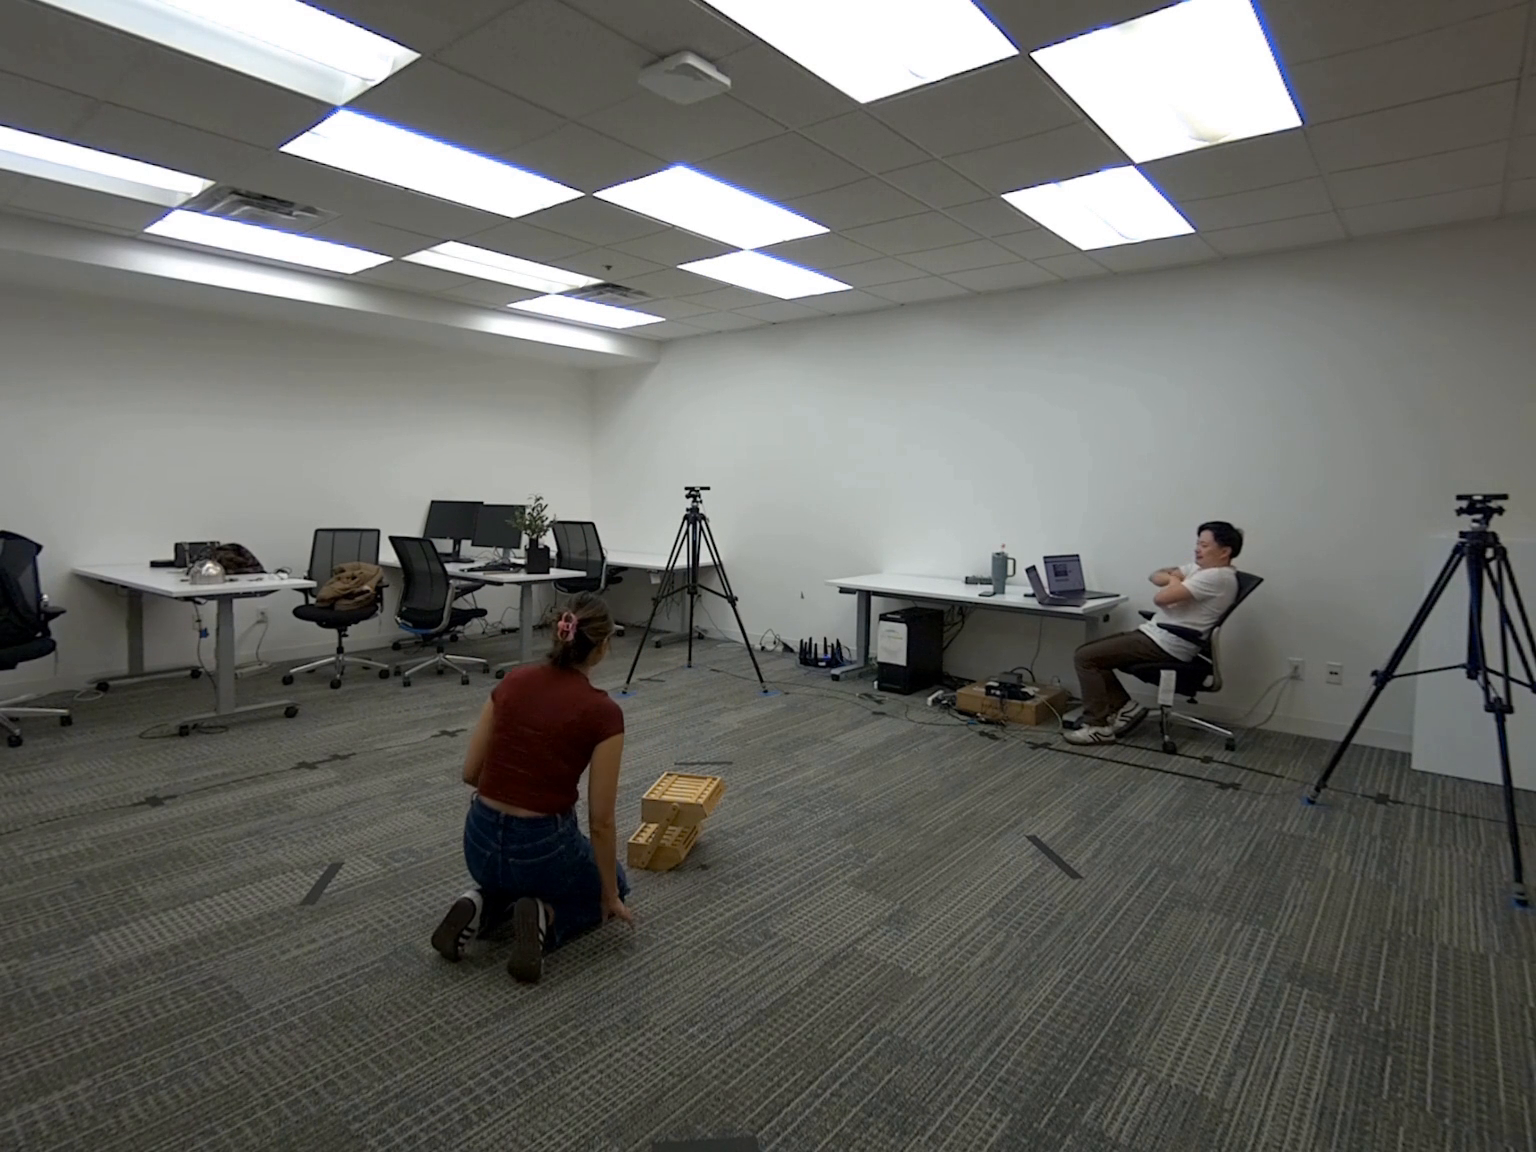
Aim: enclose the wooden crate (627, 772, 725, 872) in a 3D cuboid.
[{"bbox_3d":[-0.348,0.924,3.218,0.306,0.272,0.321,2,5,12],"label":"wooden crate"}]
